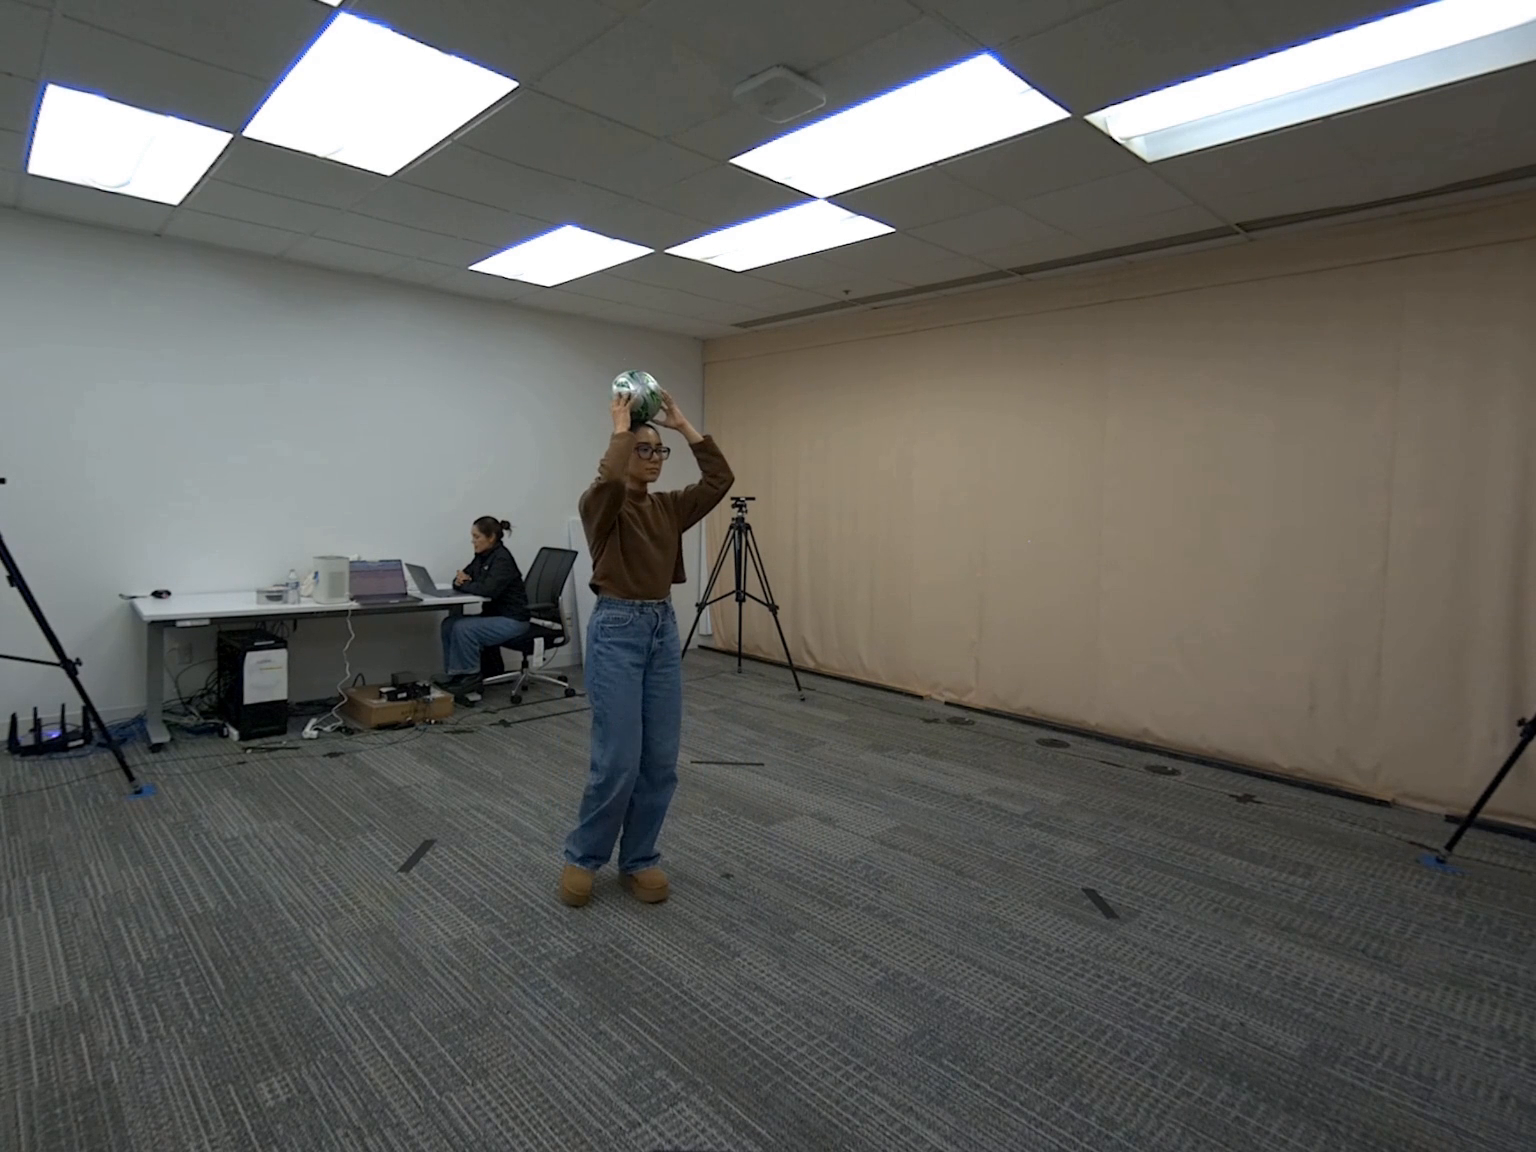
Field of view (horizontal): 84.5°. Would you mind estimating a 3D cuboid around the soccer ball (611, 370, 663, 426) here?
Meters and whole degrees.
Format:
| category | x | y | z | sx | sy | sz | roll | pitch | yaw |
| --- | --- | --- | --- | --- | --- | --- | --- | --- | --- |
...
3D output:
| category | x | y | z | sx | sy | sz | roll | pitch | yaw |
| --- | --- | --- | --- | --- | --- | --- | --- | --- | --- |
| soccer ball | -0.477 | -0.630 | 2.963 | 0.187 | 0.187 | 0.188 | 1 | 4 | -1 |
